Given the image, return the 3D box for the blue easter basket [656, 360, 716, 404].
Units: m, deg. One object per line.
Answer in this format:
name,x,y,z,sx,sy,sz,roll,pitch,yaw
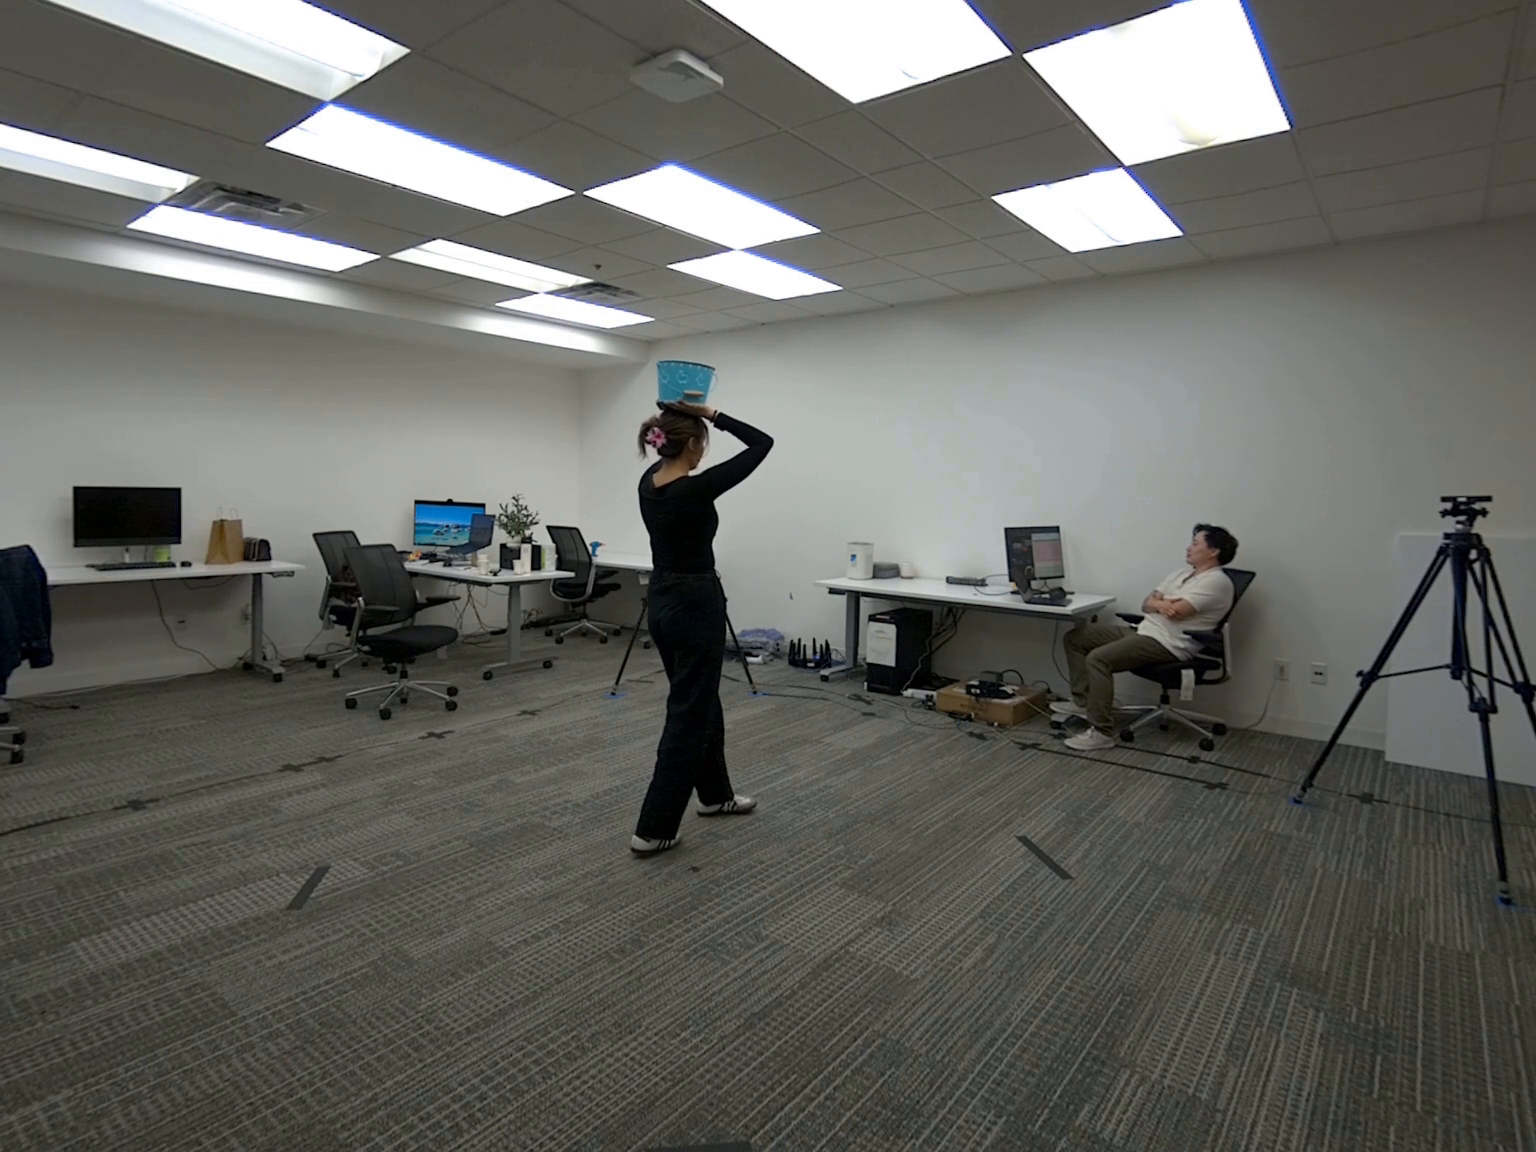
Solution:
blue easter basket,-0.338,-0.741,3.273,0.243,0.155,0.244,5,3,-2
